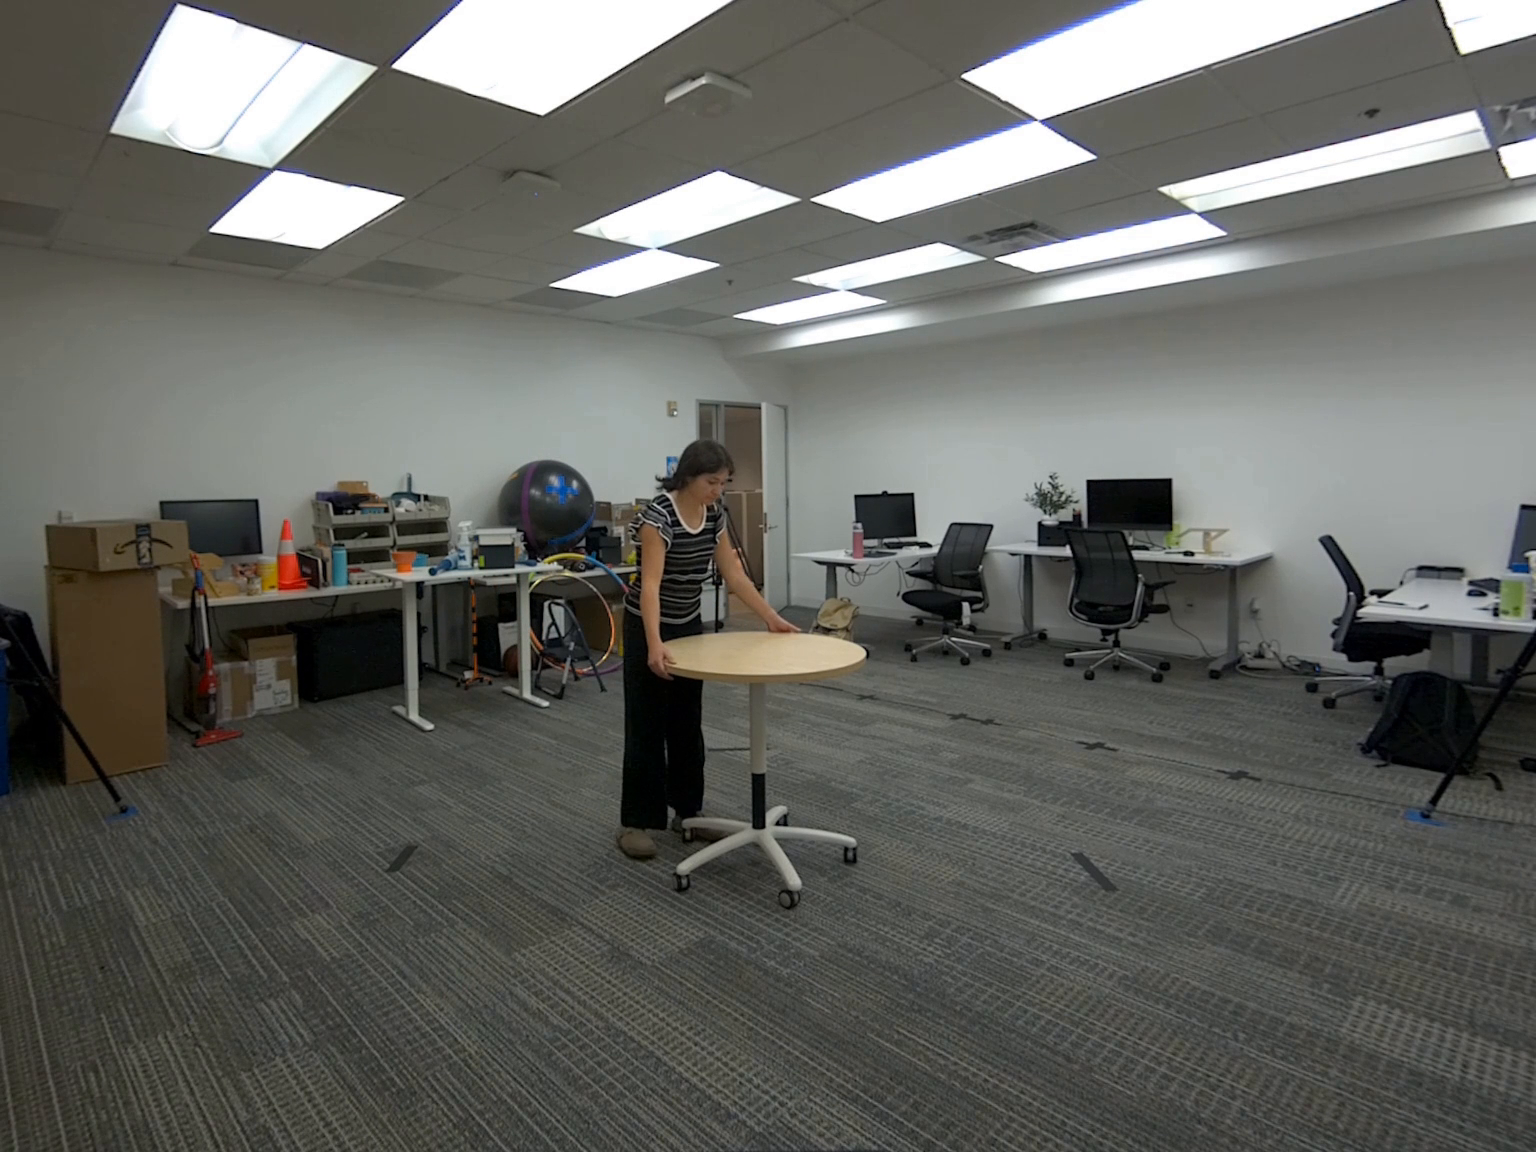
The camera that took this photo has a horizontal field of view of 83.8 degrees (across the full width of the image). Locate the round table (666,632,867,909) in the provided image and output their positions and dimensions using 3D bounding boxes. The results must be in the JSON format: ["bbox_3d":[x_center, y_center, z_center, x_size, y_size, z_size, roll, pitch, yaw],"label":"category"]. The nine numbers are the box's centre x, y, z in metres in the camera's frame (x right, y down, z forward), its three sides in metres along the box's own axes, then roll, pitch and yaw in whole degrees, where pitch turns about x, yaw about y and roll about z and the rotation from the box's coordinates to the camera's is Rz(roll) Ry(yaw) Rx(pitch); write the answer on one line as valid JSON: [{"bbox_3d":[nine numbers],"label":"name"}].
[{"bbox_3d":[-0.032,0.659,3.062,0.763,0.791,0.768,-1,5,-2],"label":"round table"}]
